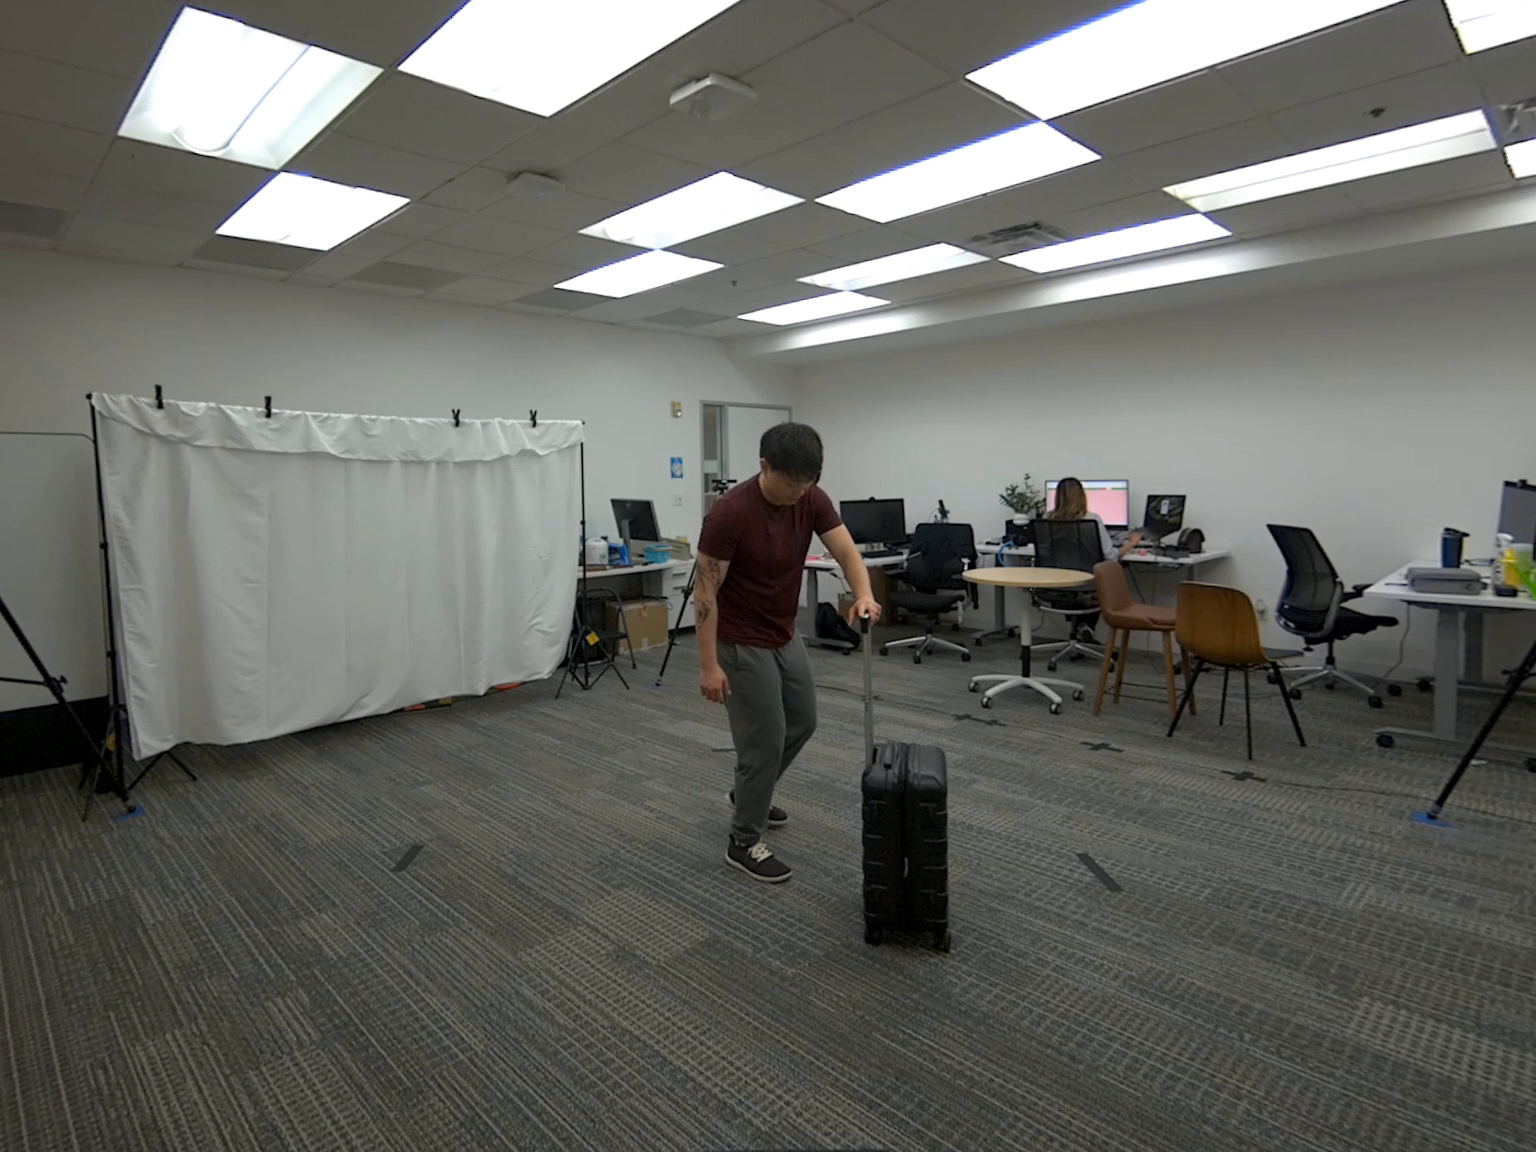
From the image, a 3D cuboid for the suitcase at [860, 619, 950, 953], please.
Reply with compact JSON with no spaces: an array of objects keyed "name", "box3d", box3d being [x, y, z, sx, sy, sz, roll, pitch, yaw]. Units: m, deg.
[{"name":"suitcase","box3d":[0.436,0.612,2.638,0.260,0.974,0.381,0,5,11]}]
